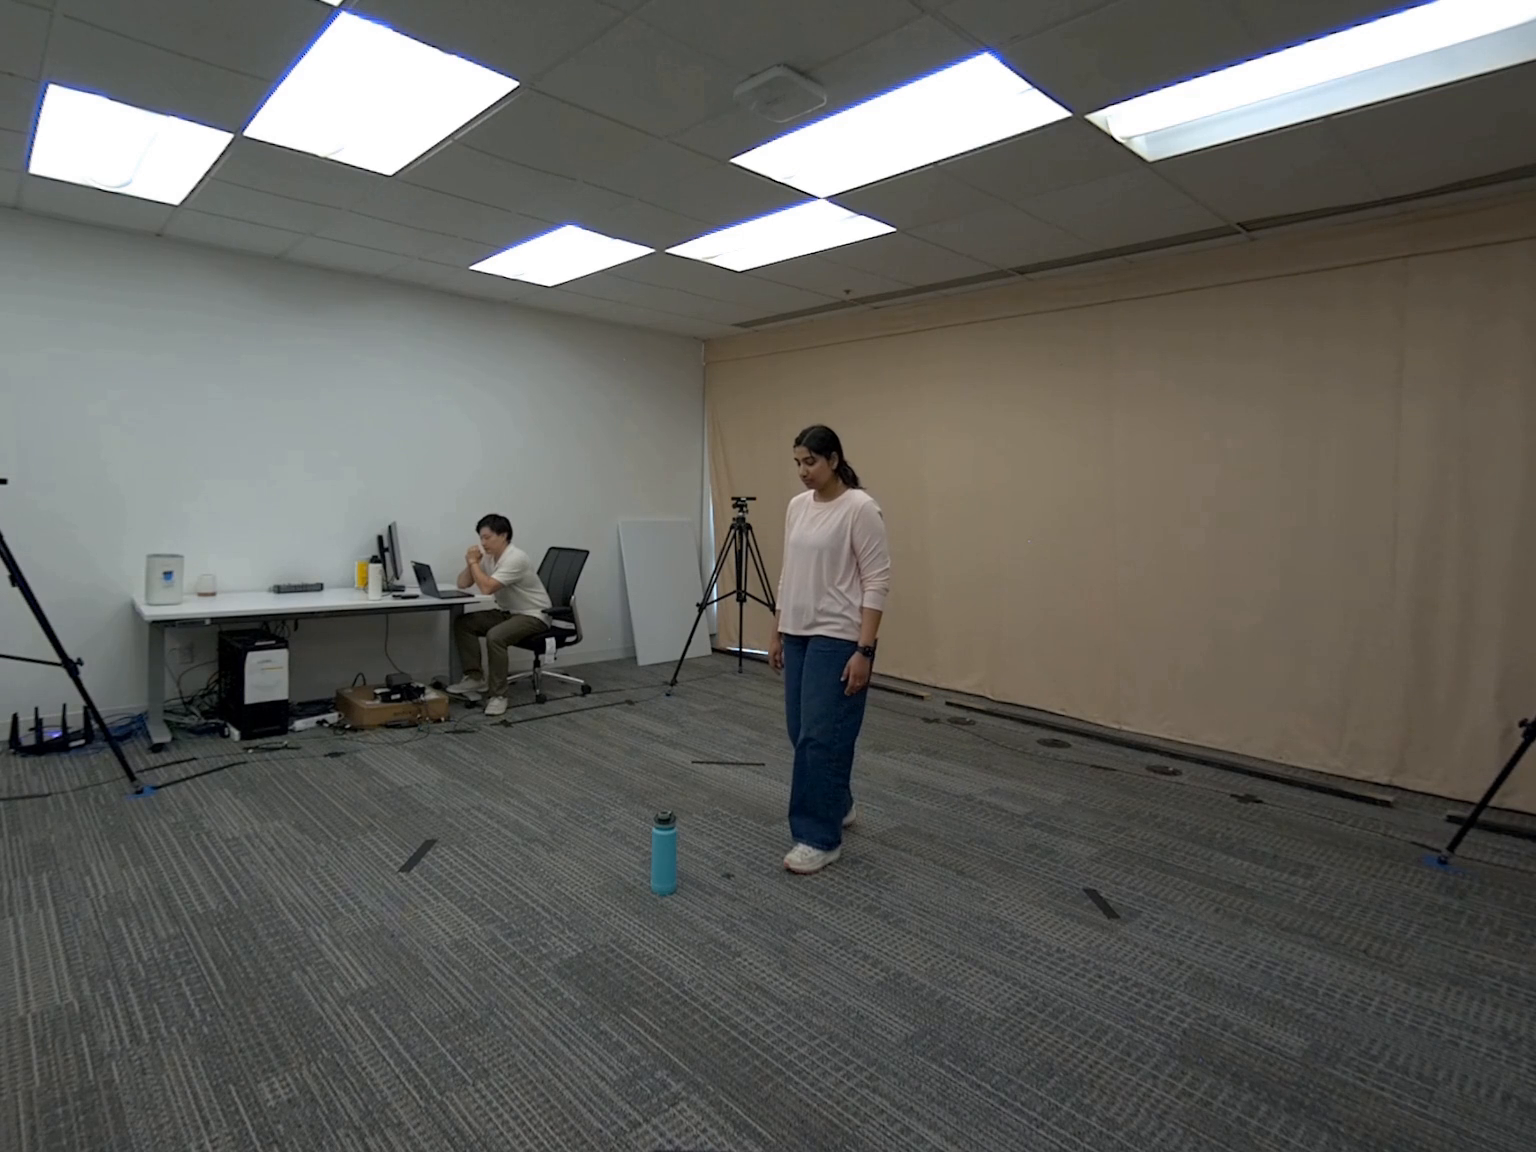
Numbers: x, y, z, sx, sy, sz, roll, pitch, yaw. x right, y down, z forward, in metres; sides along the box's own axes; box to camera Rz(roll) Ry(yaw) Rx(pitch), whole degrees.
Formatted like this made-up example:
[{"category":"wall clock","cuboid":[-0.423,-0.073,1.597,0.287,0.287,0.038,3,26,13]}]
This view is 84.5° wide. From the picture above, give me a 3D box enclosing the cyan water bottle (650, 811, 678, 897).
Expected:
[{"category":"cyan water bottle","cuboid":[-0.374,0.972,2.978,0.092,0.283,0.092,2,2,-1]}]
